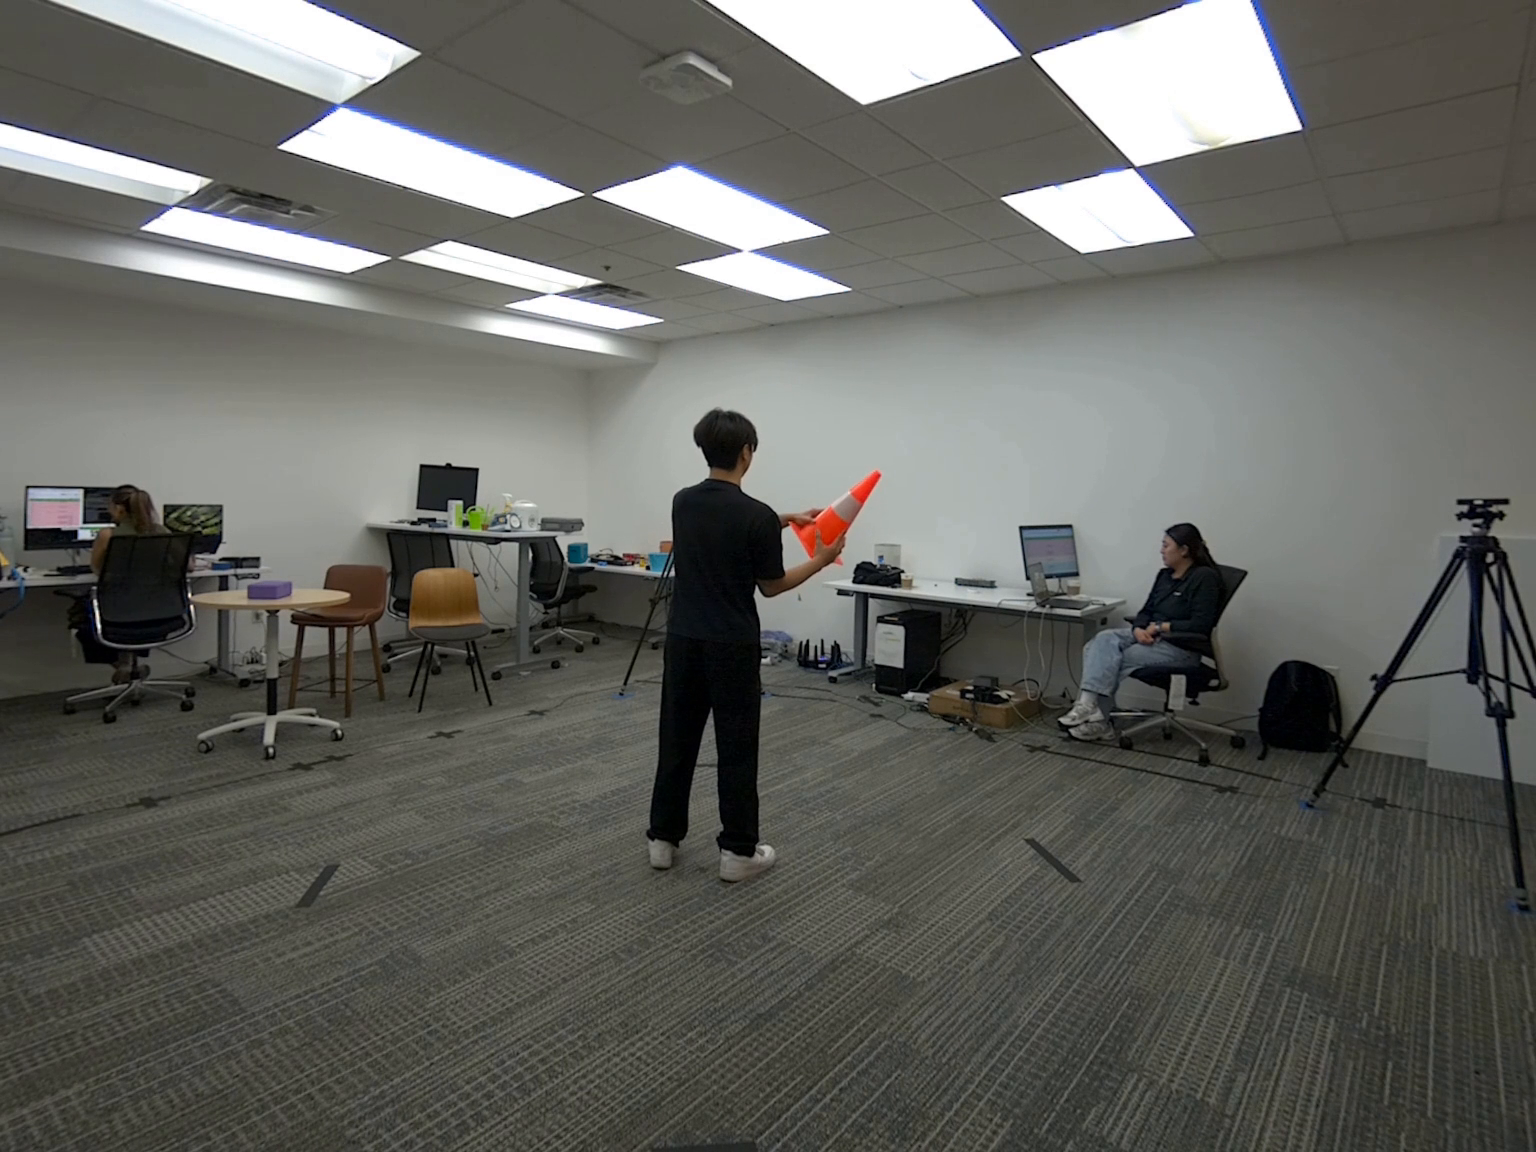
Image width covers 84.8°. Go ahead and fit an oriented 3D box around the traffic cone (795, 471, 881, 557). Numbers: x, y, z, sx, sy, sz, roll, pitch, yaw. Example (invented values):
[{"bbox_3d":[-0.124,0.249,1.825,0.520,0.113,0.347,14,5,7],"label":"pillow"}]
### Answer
[{"bbox_3d":[0.292,-0.247,3.236,0.197,0.383,0.211,16,36,-40],"label":"traffic cone"}]
